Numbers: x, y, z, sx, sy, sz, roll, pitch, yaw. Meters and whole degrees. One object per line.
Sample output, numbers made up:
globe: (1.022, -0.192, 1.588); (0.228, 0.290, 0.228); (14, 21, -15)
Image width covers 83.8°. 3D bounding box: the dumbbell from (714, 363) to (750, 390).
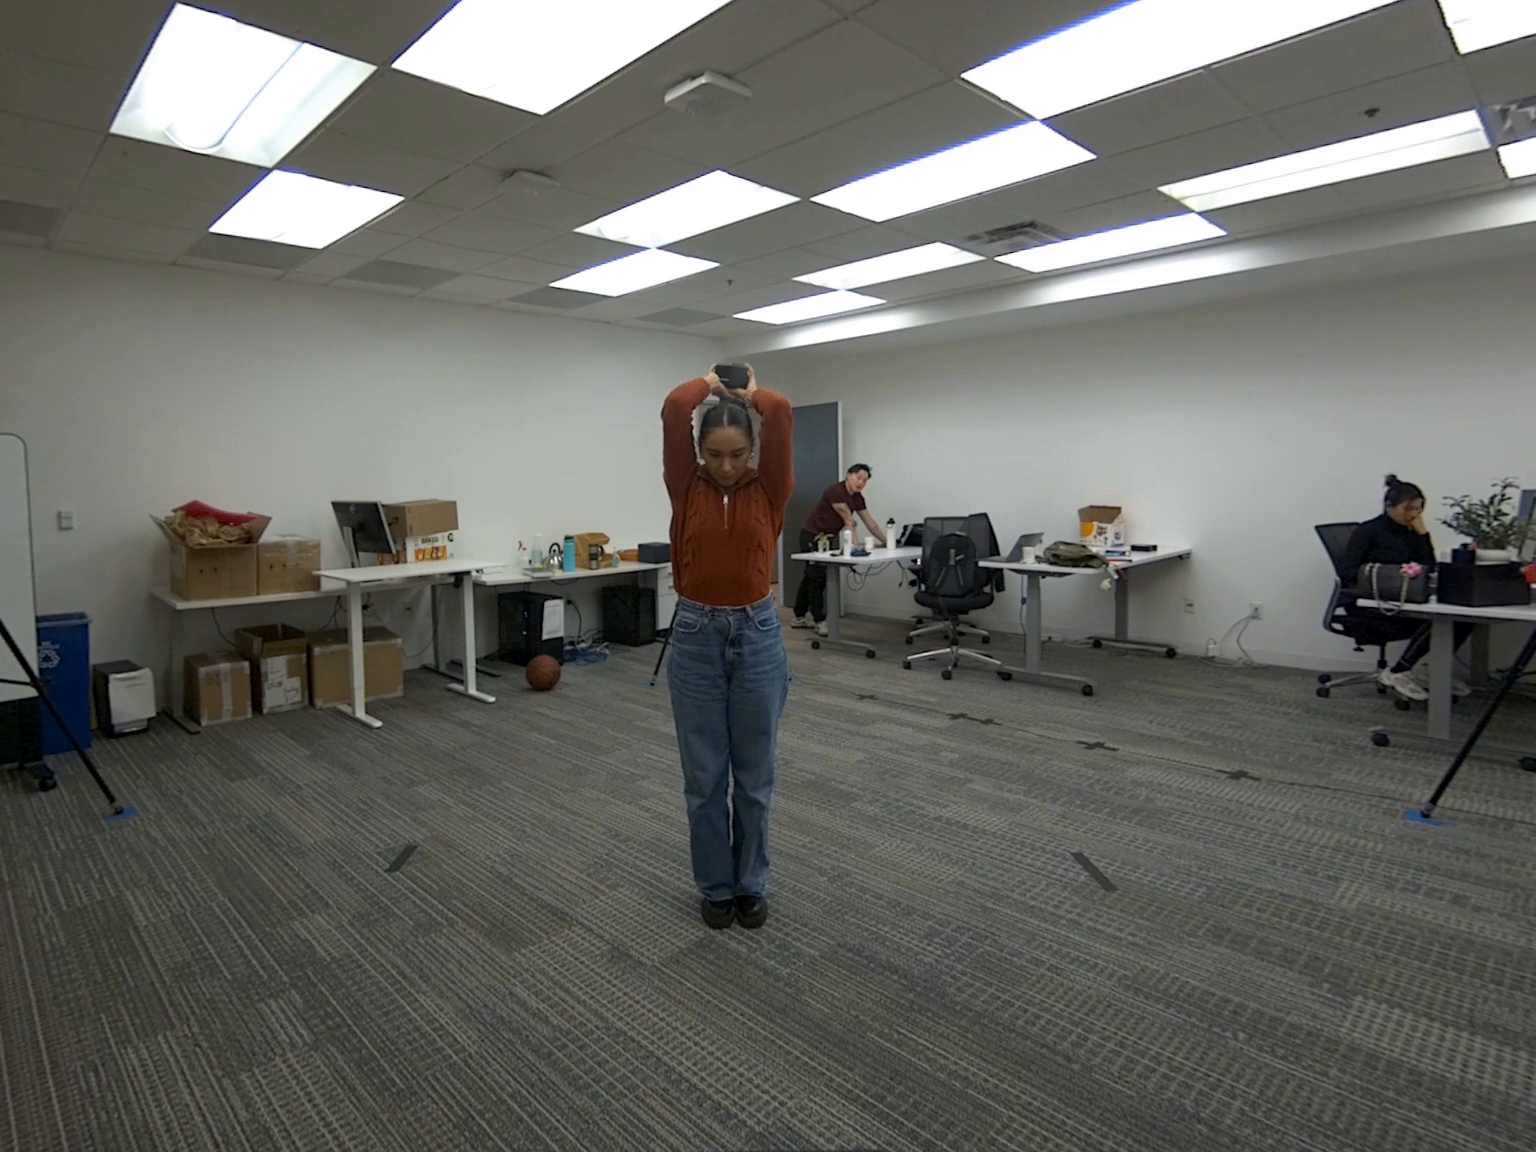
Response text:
dumbbell: (-0.129, -0.552, 2.807); (0.108, 0.291, 0.125); (4, 10, -10)
